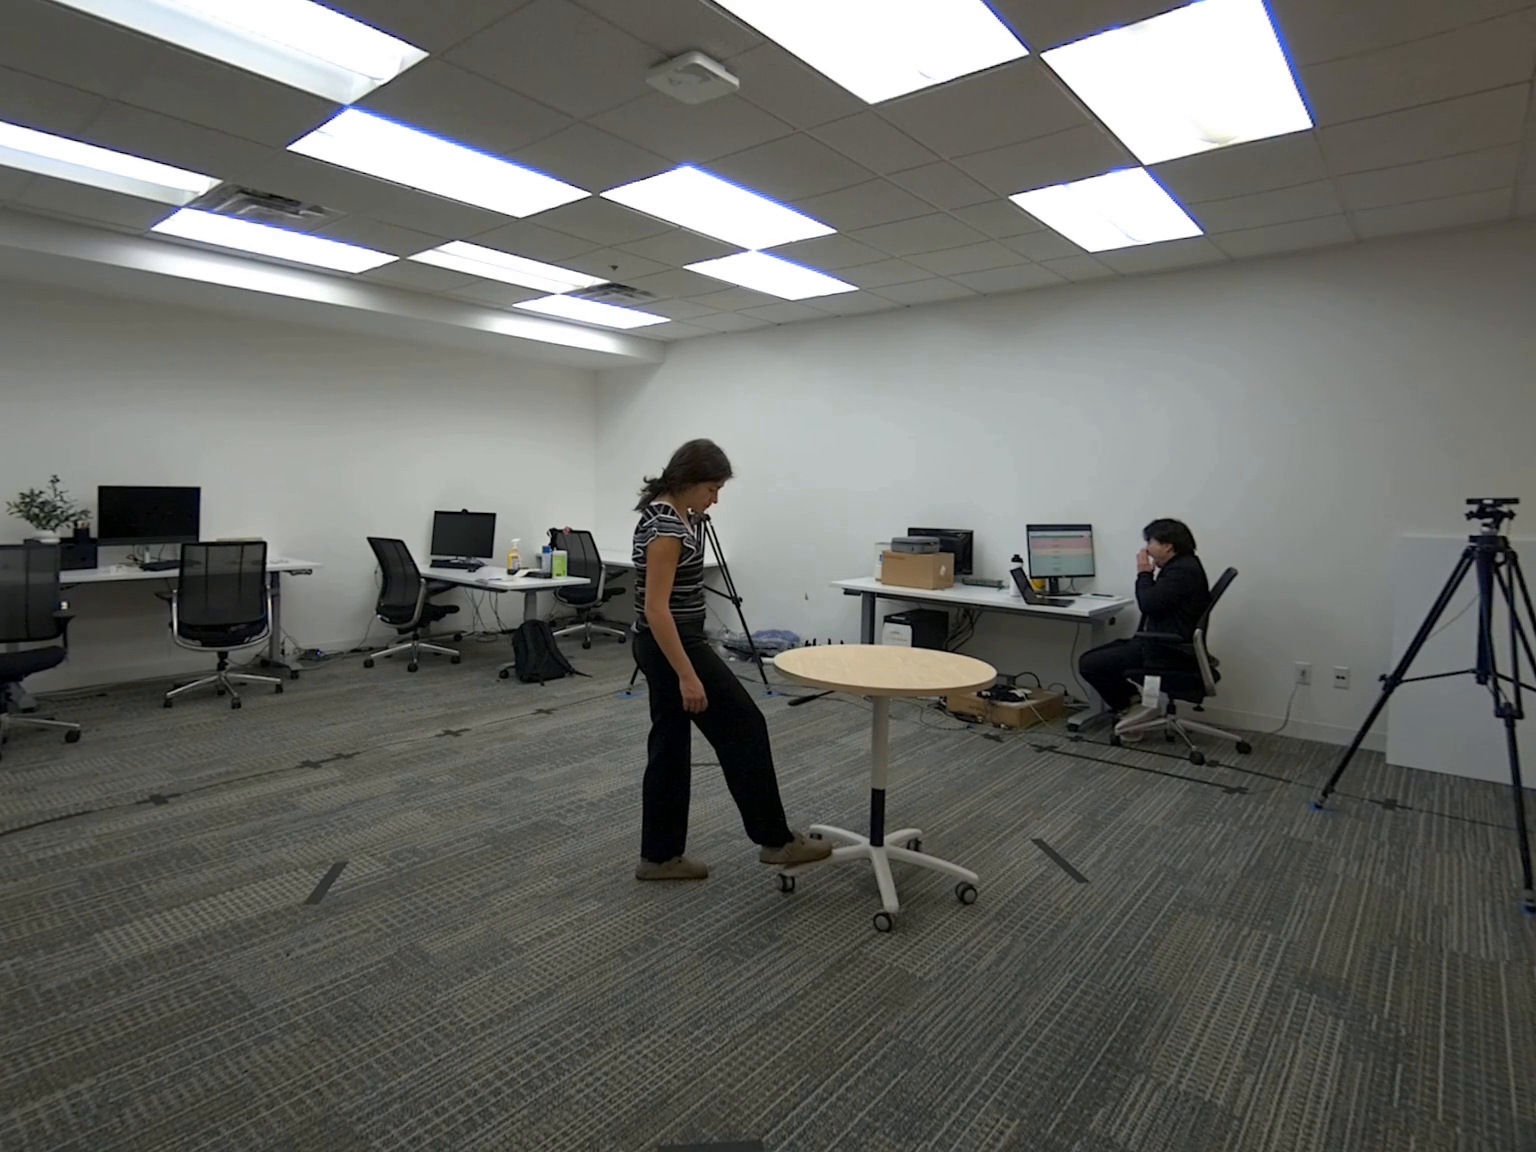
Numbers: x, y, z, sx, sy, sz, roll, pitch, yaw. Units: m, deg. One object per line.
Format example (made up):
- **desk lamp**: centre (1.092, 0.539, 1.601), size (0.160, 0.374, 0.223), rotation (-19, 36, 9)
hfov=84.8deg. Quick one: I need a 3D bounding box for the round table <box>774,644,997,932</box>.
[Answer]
- **round table**: centre (0.390, 0.700, 2.998), size (0.784, 0.784, 0.789), rotation (1, 4, -2)
